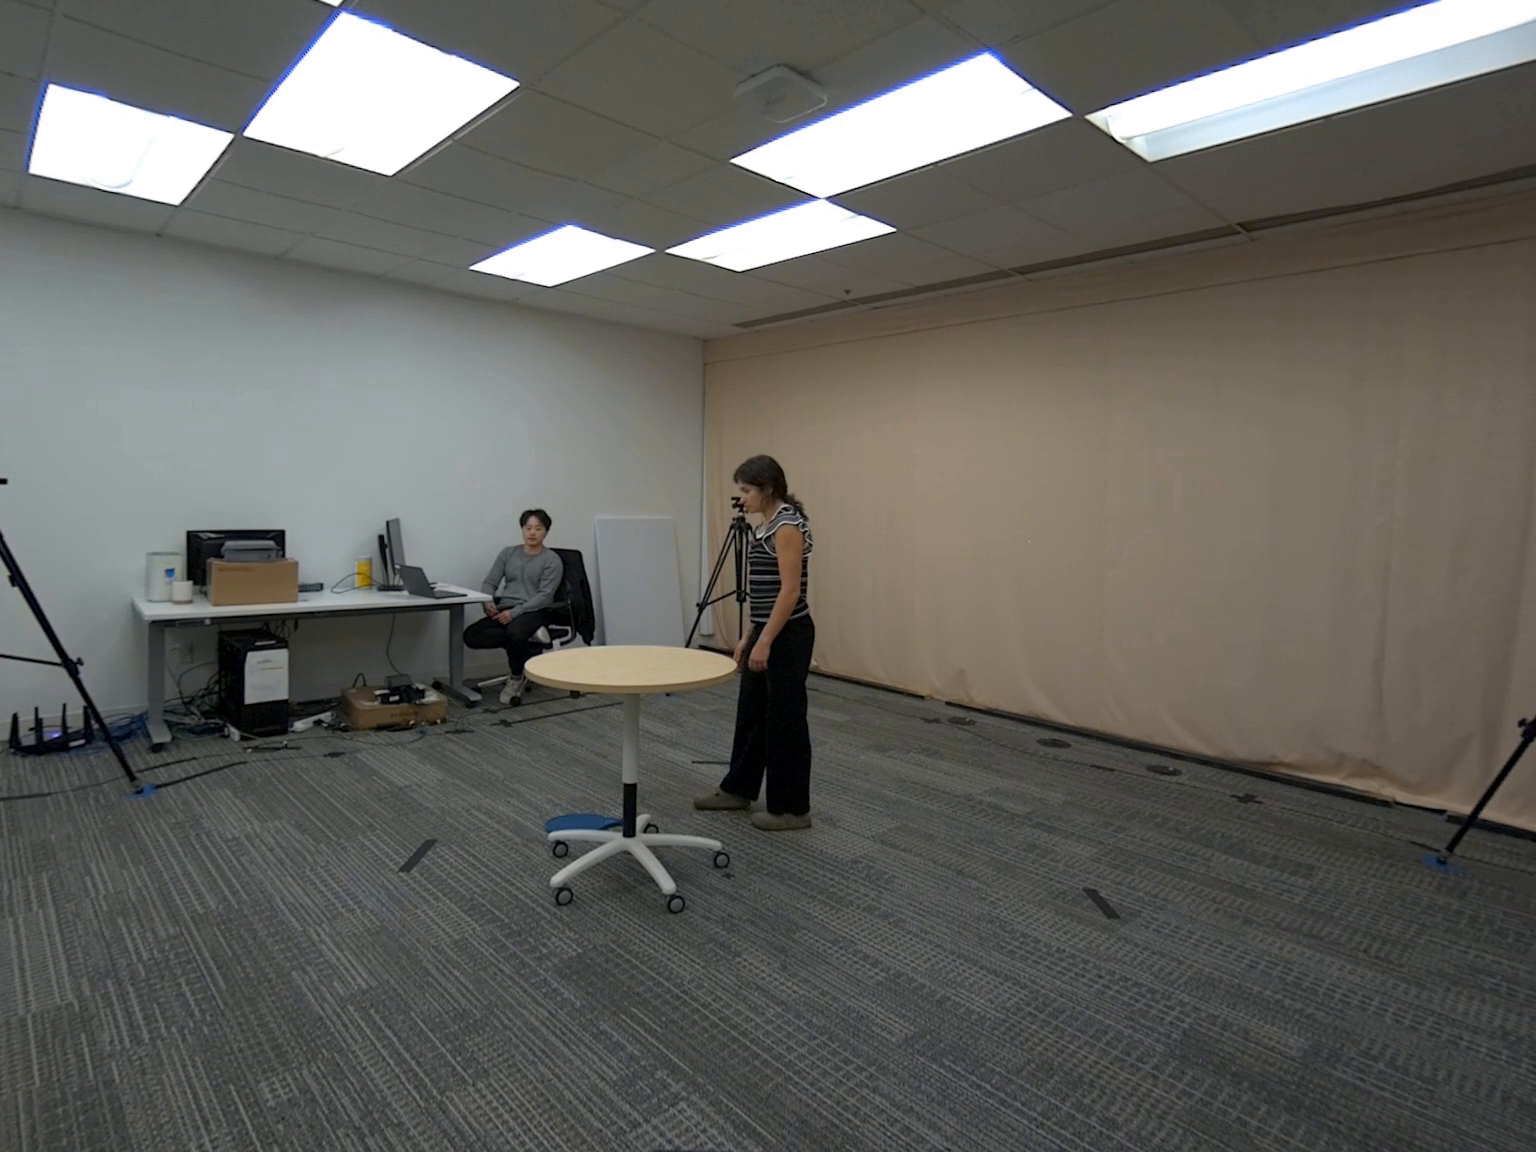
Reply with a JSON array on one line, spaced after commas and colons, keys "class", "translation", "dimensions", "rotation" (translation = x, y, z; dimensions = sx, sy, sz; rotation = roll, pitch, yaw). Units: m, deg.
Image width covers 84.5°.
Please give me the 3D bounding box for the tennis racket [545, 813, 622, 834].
[{"class": "tennis racket", "translation": [-0.713, 1.023, 3.521], "dimensions": [0.431, 0.031, 0.215], "rotation": [0, 5, -5]}]
